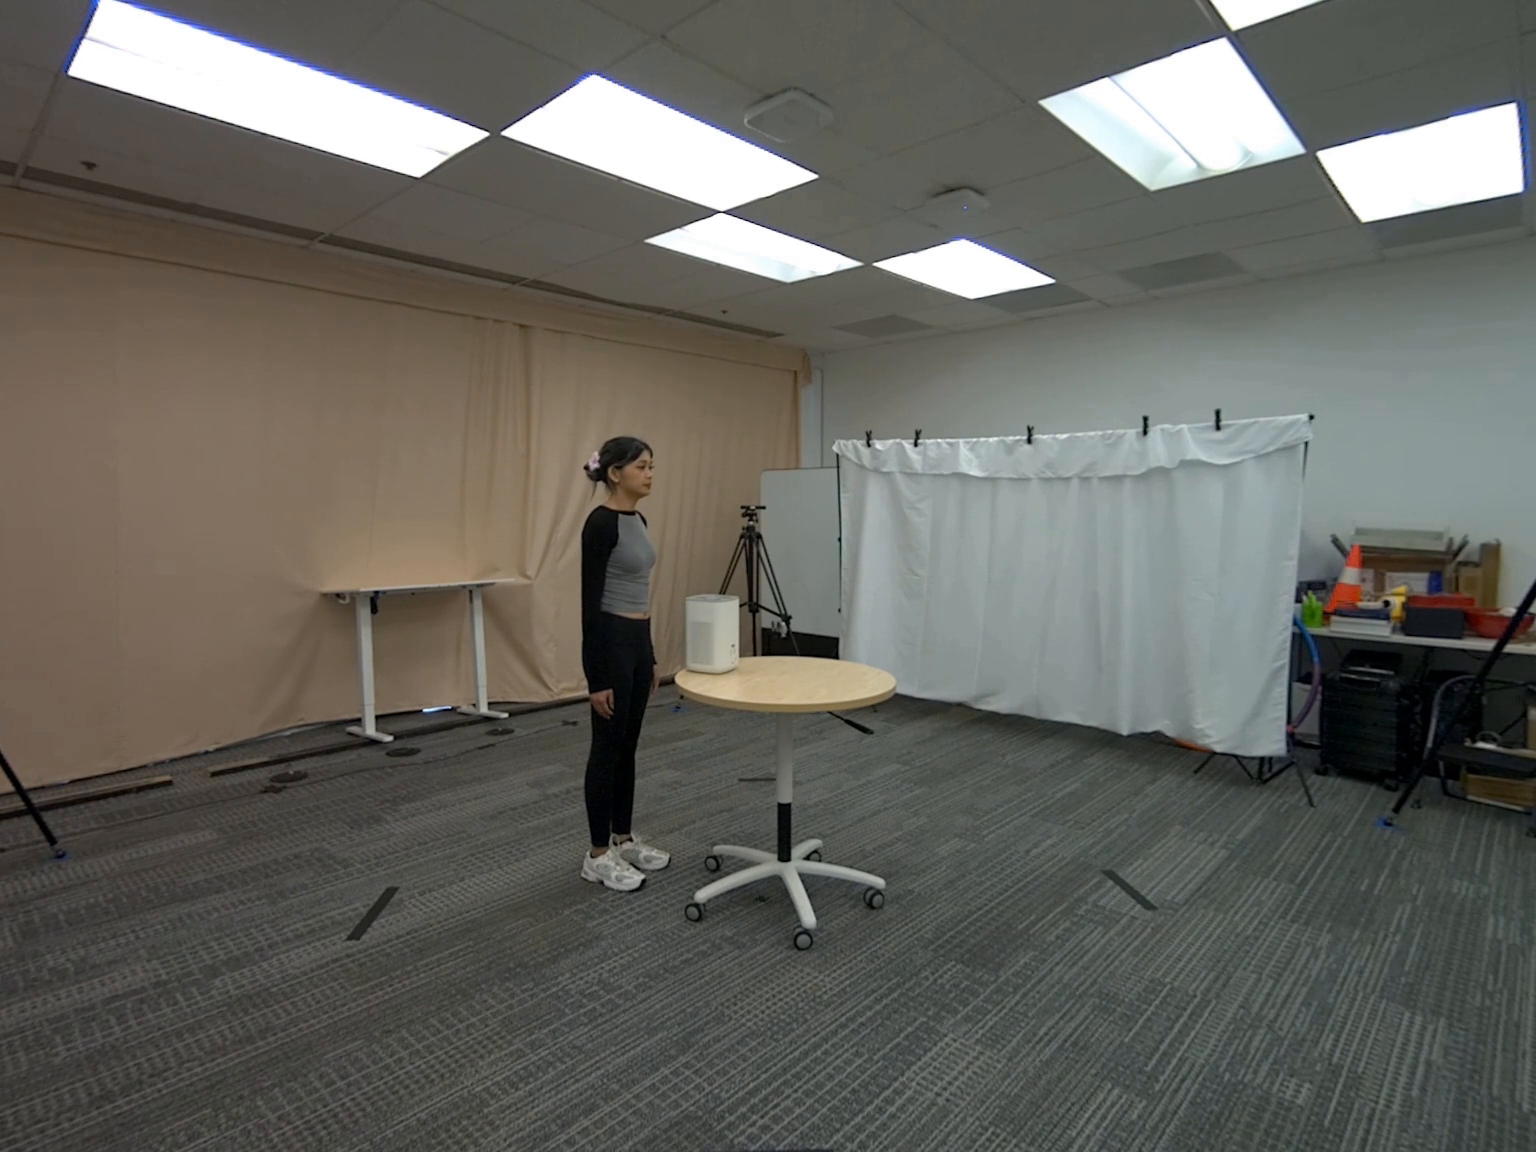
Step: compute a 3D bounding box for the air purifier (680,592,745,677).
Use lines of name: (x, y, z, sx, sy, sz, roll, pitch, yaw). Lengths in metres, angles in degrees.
air purifier: (-0.200, 0.204, 3.043, 0.175, 0.265, 0.167, 3, 5, 25)
